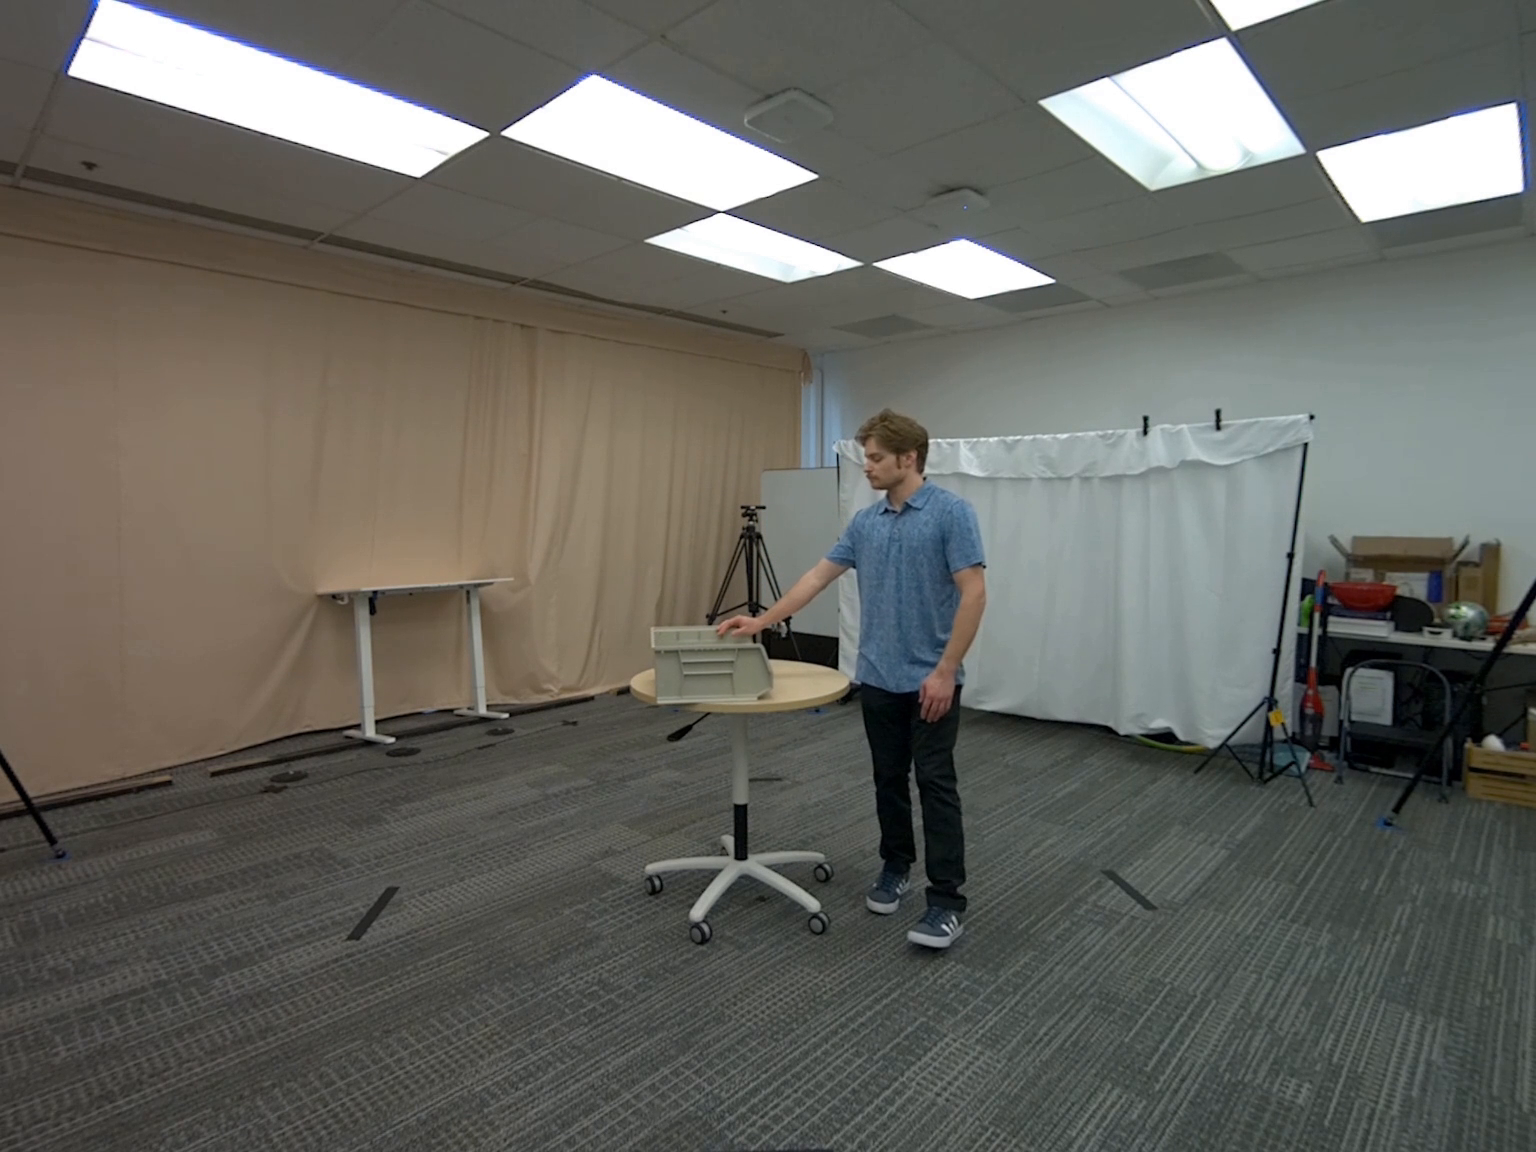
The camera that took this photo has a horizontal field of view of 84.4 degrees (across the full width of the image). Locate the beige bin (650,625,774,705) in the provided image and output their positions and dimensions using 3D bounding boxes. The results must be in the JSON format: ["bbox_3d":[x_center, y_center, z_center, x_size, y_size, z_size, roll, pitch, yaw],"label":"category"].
[{"bbox_3d":[-0.197,0.285,2.810,0.375,0.188,0.426,-4,5,-6],"label":"beige bin"}]
